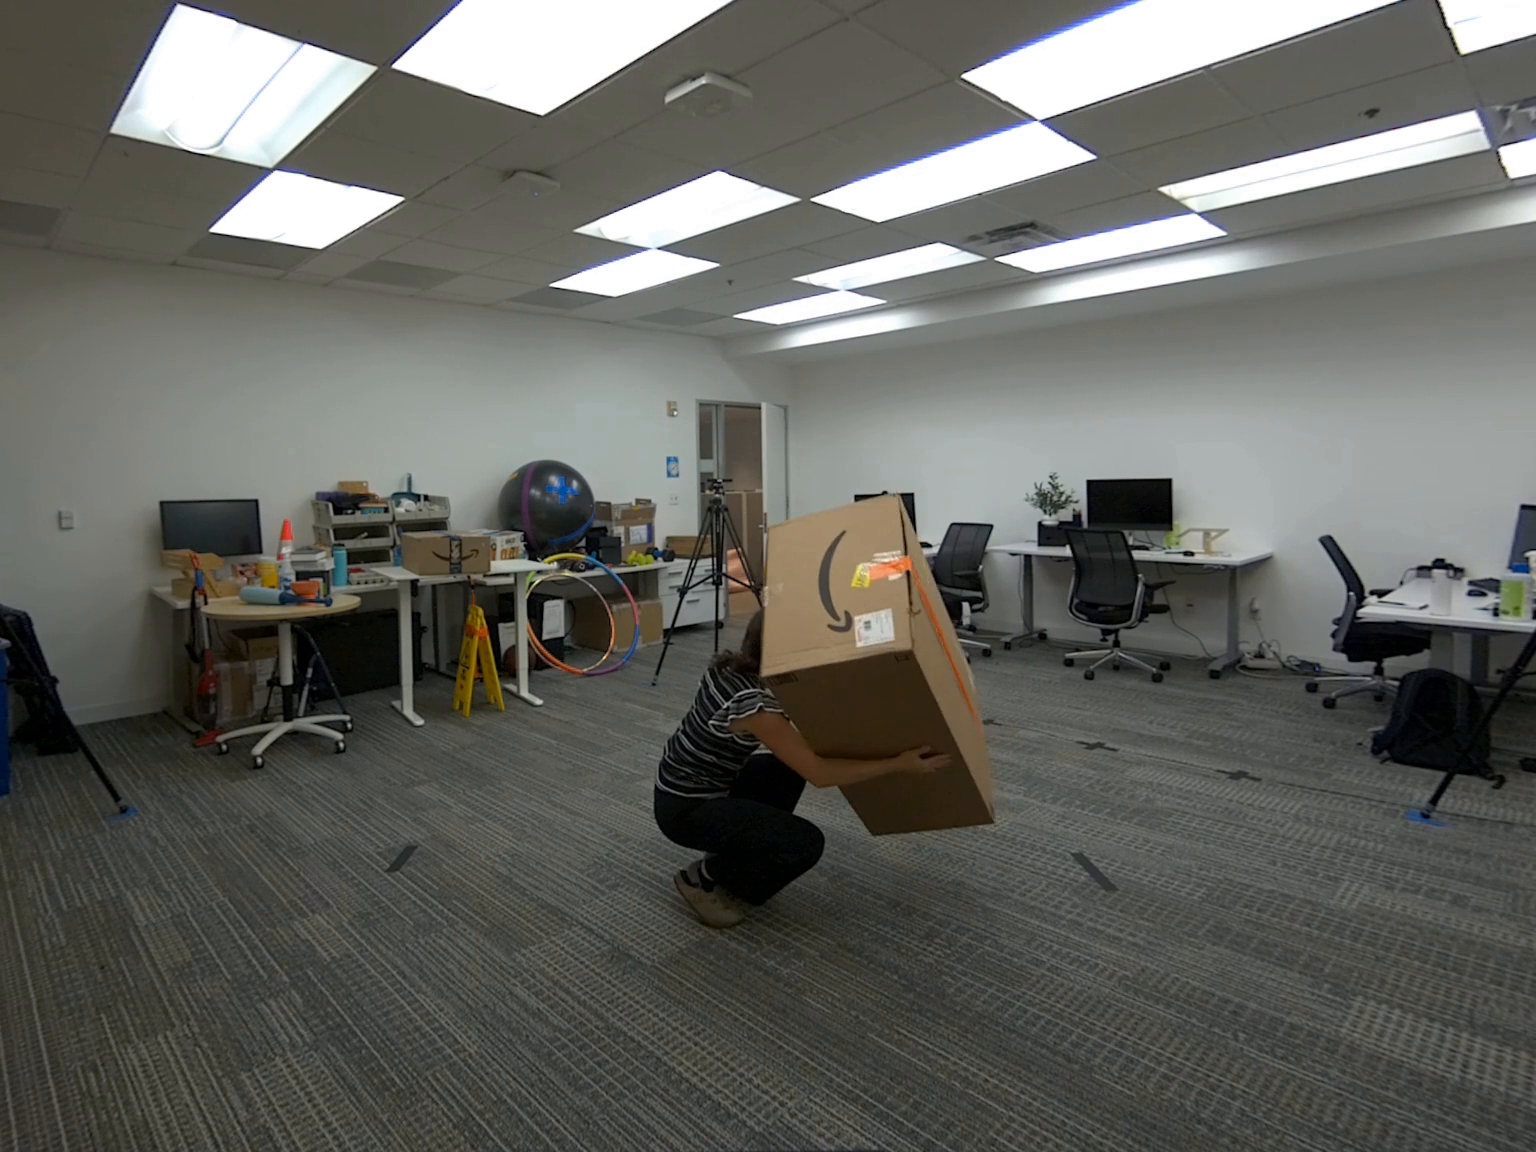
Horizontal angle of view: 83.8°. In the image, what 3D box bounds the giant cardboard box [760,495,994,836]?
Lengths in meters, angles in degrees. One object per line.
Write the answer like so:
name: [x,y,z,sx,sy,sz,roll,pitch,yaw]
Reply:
giant cardboard box: [0.376,0.323,2.752,0.432,0.592,0.987,-14,-45,19]
